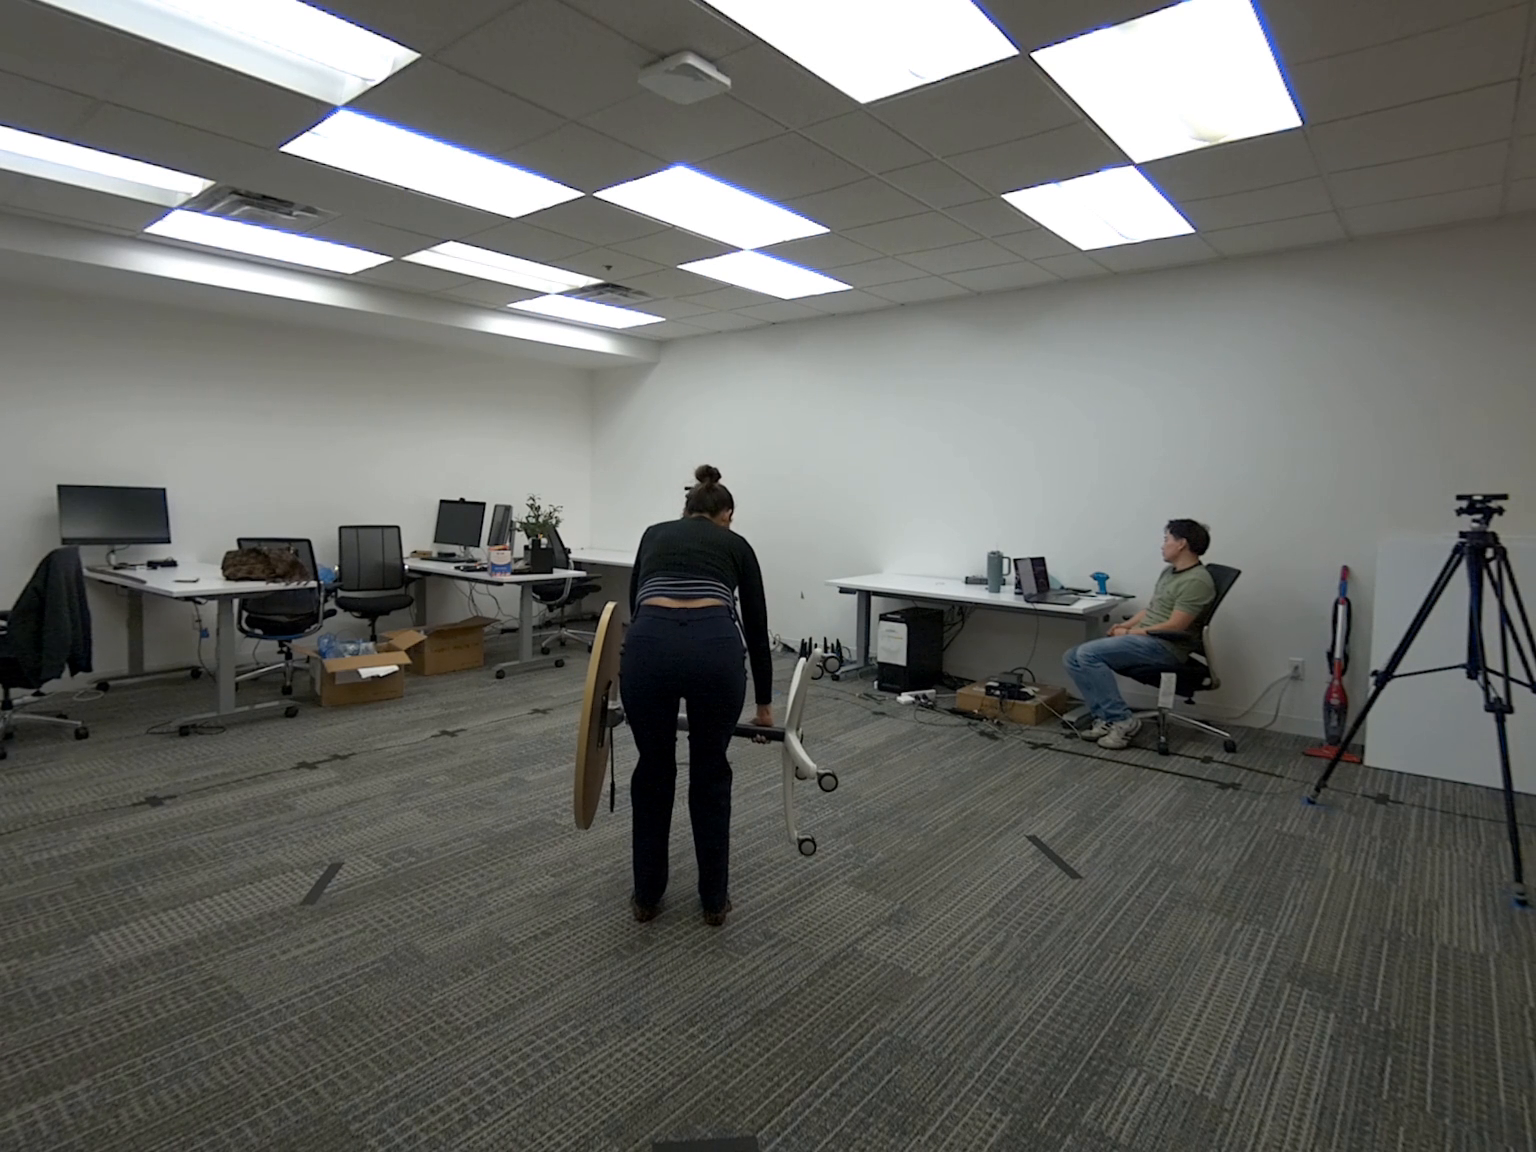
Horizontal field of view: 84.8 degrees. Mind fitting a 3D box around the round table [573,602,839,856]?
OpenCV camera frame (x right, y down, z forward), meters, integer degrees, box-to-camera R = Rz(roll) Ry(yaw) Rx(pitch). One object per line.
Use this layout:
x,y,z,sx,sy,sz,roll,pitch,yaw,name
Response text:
-0.206,0.521,2.934,0.793,0.762,0.767,7,4,-2,round table
